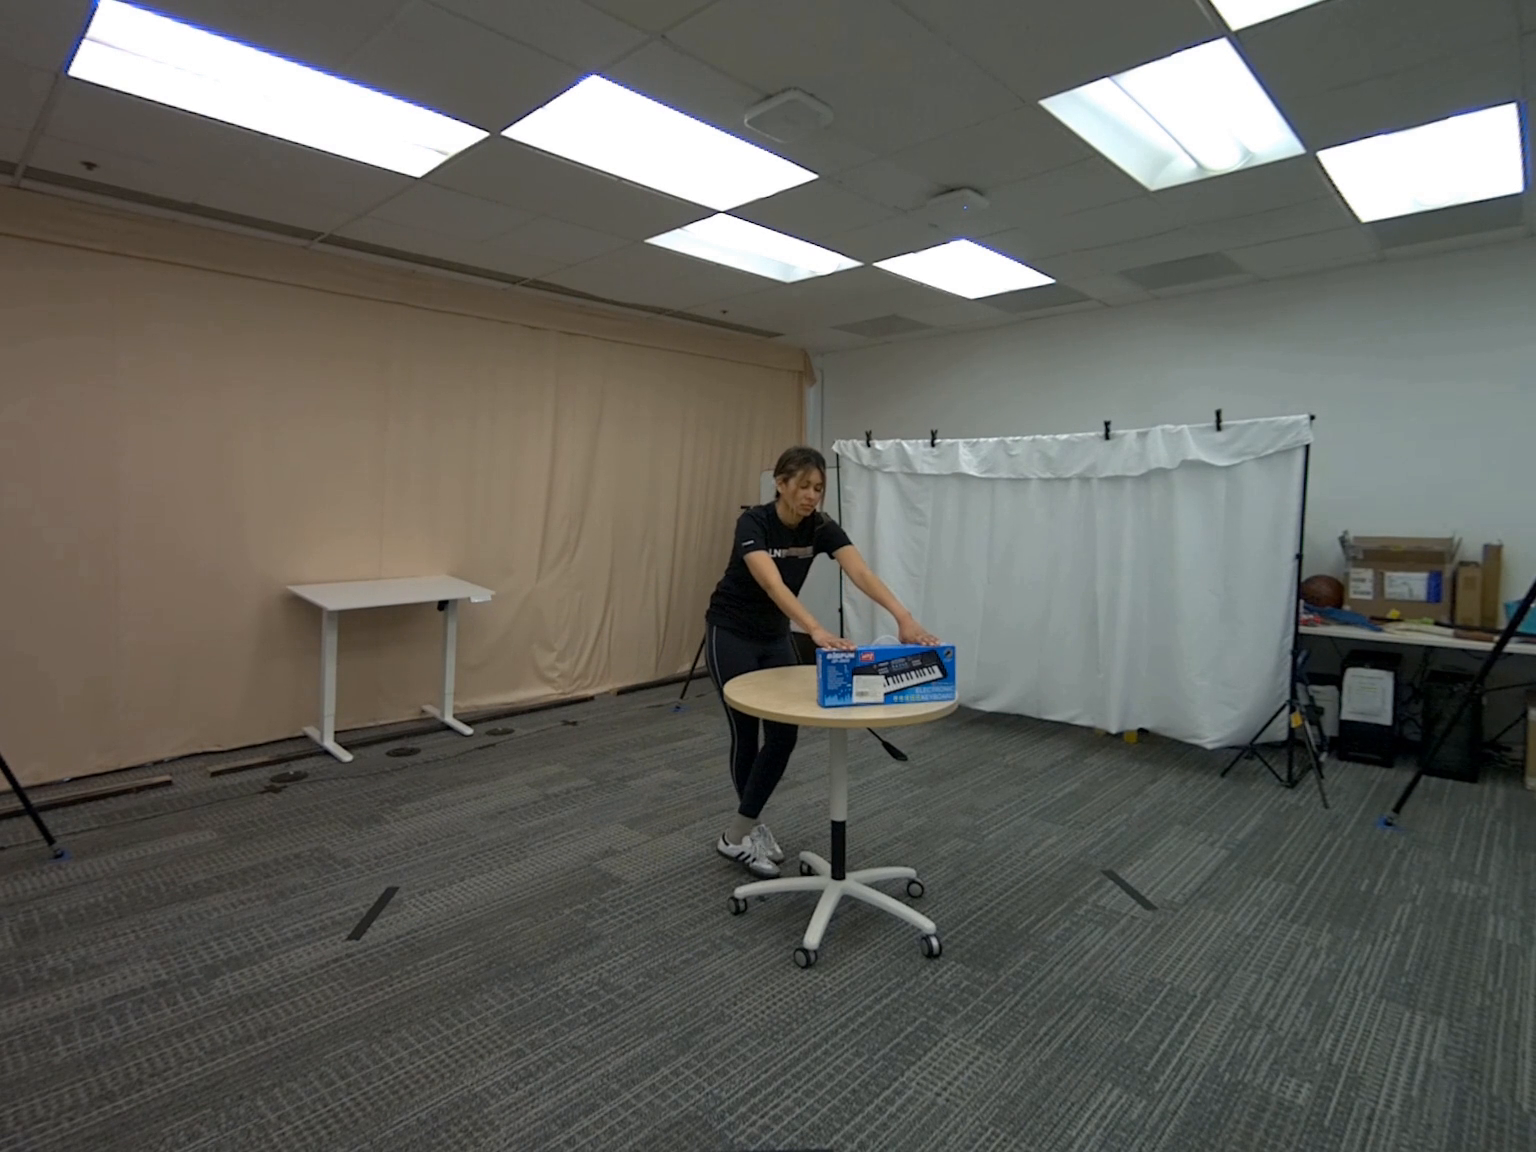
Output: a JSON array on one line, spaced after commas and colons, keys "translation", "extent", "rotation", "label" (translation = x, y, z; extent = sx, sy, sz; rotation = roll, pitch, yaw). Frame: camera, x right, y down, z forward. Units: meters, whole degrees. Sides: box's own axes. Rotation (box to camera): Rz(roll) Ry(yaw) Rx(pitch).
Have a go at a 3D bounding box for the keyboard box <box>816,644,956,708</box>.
[{"translation": [0.371, 0.302, 2.607], "extent": [0.431, 0.175, 0.060], "rotation": [-1, 3, -12], "label": "keyboard box"}]
